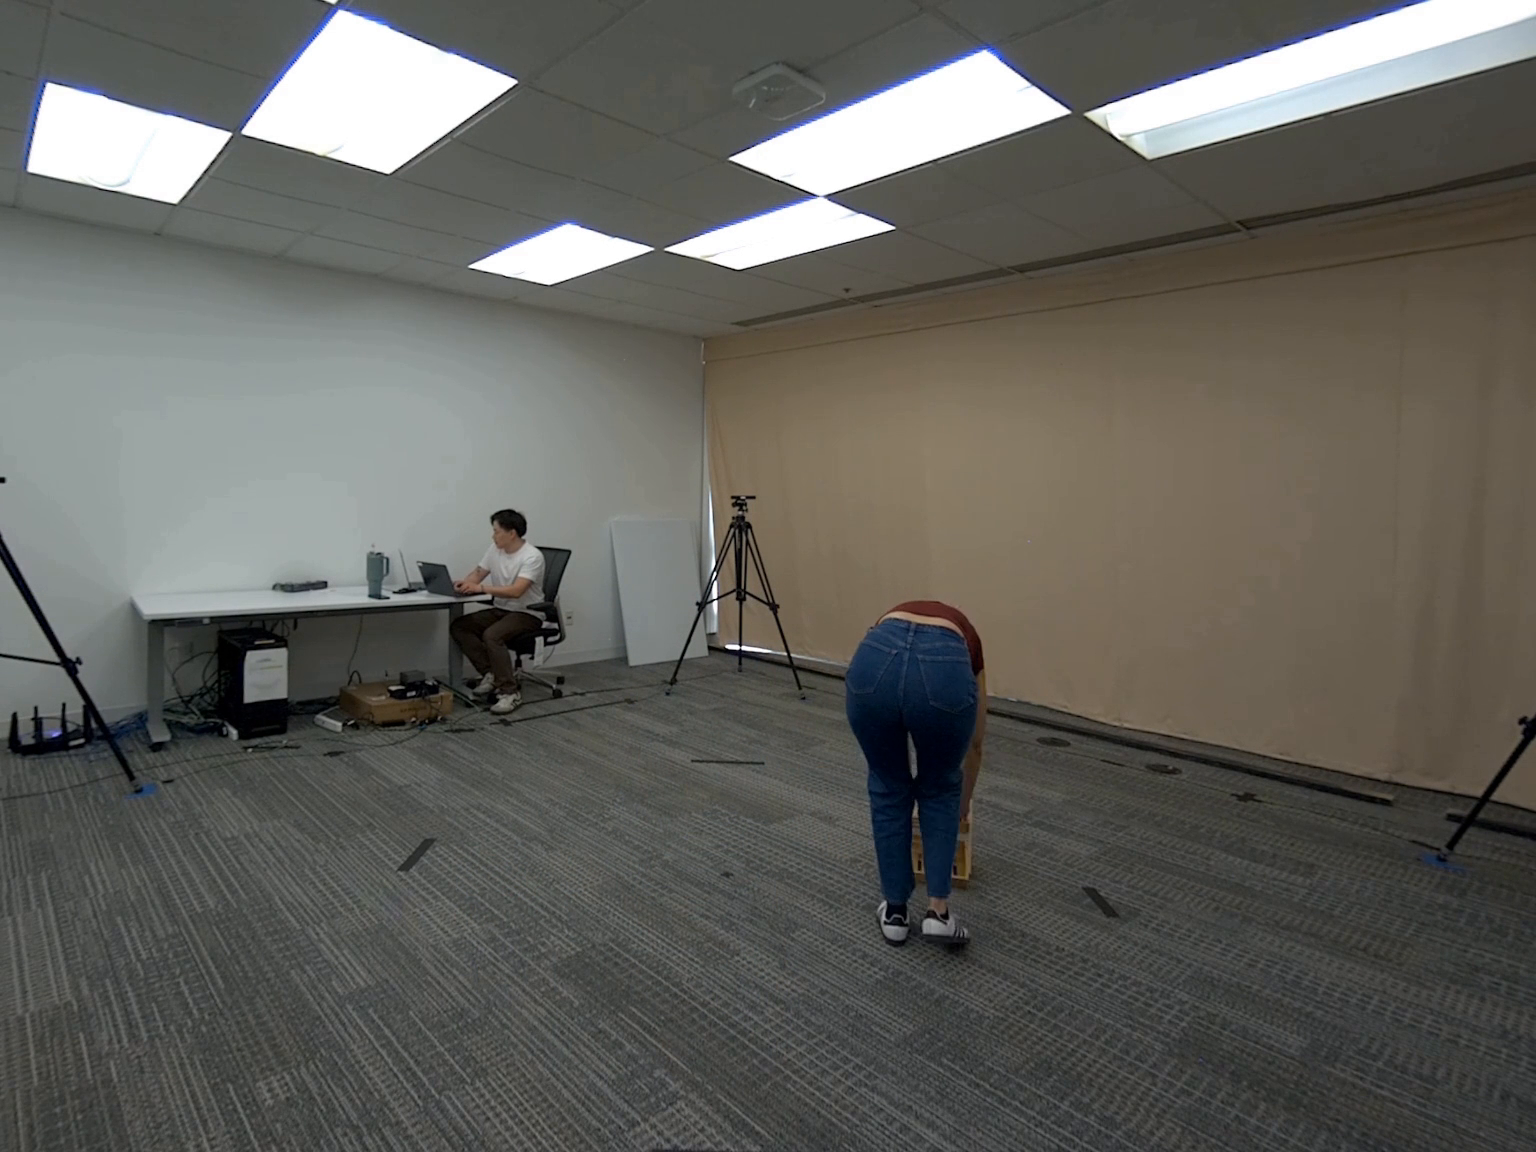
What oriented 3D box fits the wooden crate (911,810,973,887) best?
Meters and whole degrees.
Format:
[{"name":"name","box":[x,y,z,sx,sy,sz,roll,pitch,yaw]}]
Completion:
[{"name":"wooden crate","box":[0.604,0.984,3.186,0.328,0.273,0.299,3,4,13]}]
